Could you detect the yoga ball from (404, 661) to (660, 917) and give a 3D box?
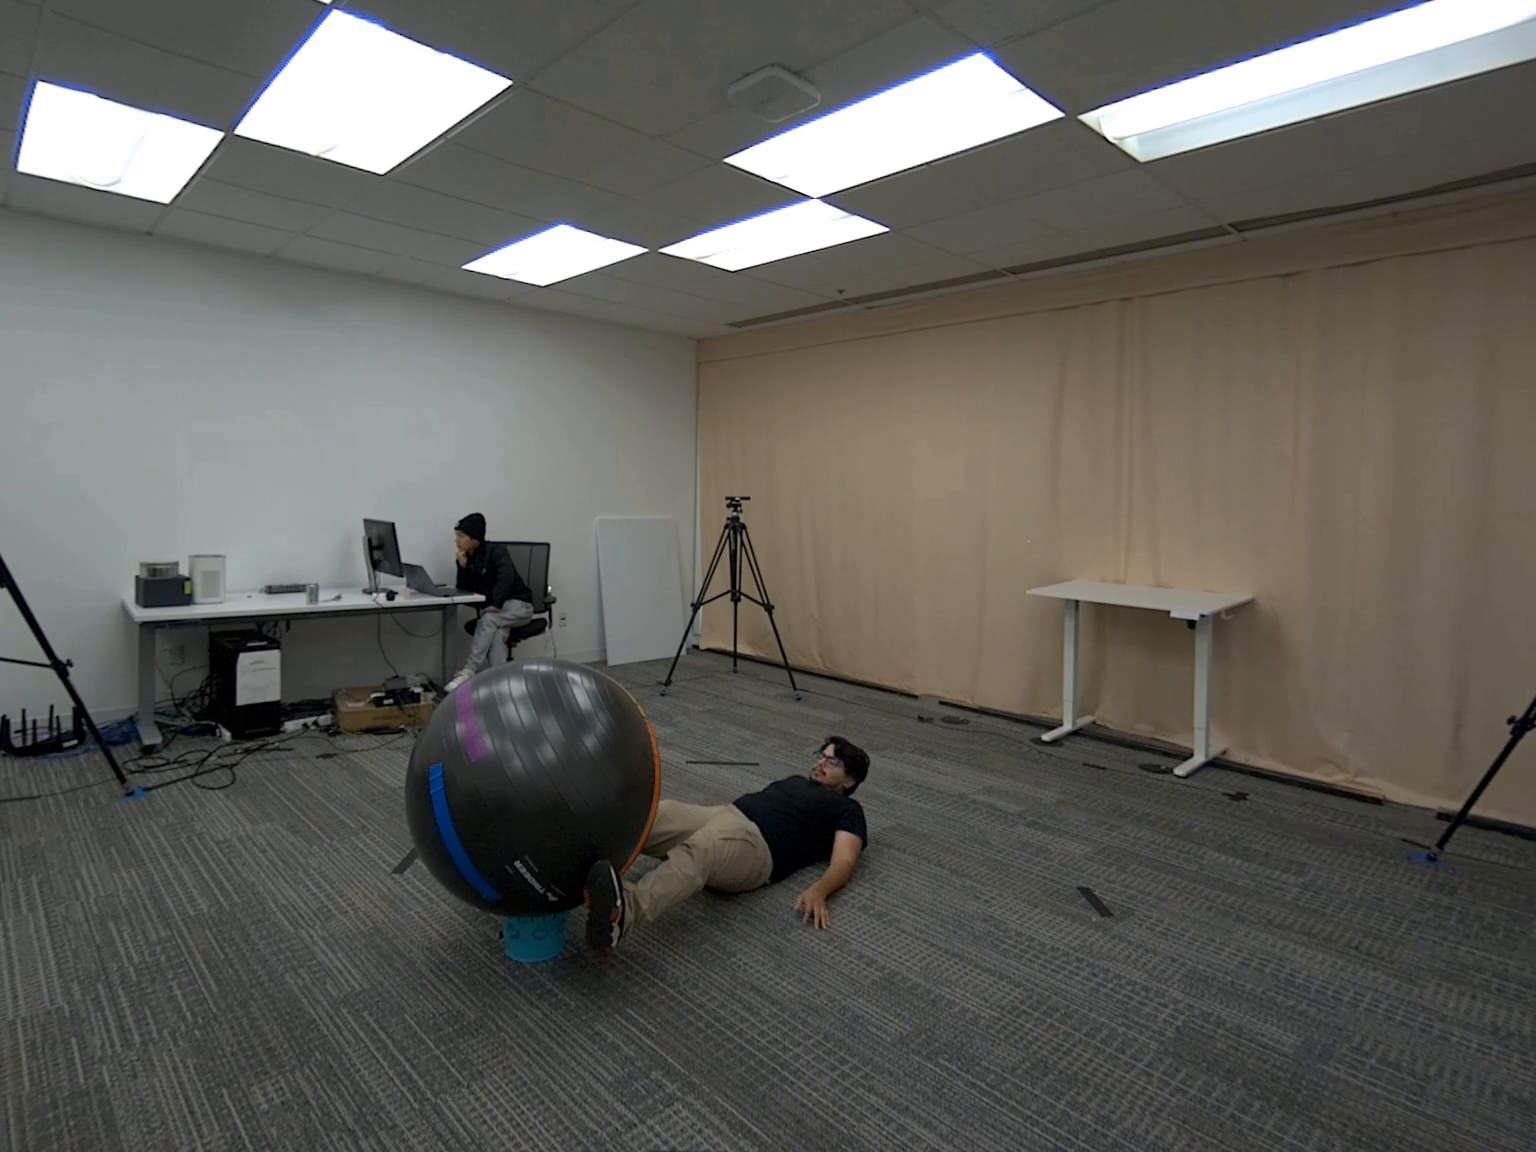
[{"bbox_3d":[-0.713,0.635,2.562,0.757,0.756,0.761,1,4,-1],"label":"yoga ball"}]
